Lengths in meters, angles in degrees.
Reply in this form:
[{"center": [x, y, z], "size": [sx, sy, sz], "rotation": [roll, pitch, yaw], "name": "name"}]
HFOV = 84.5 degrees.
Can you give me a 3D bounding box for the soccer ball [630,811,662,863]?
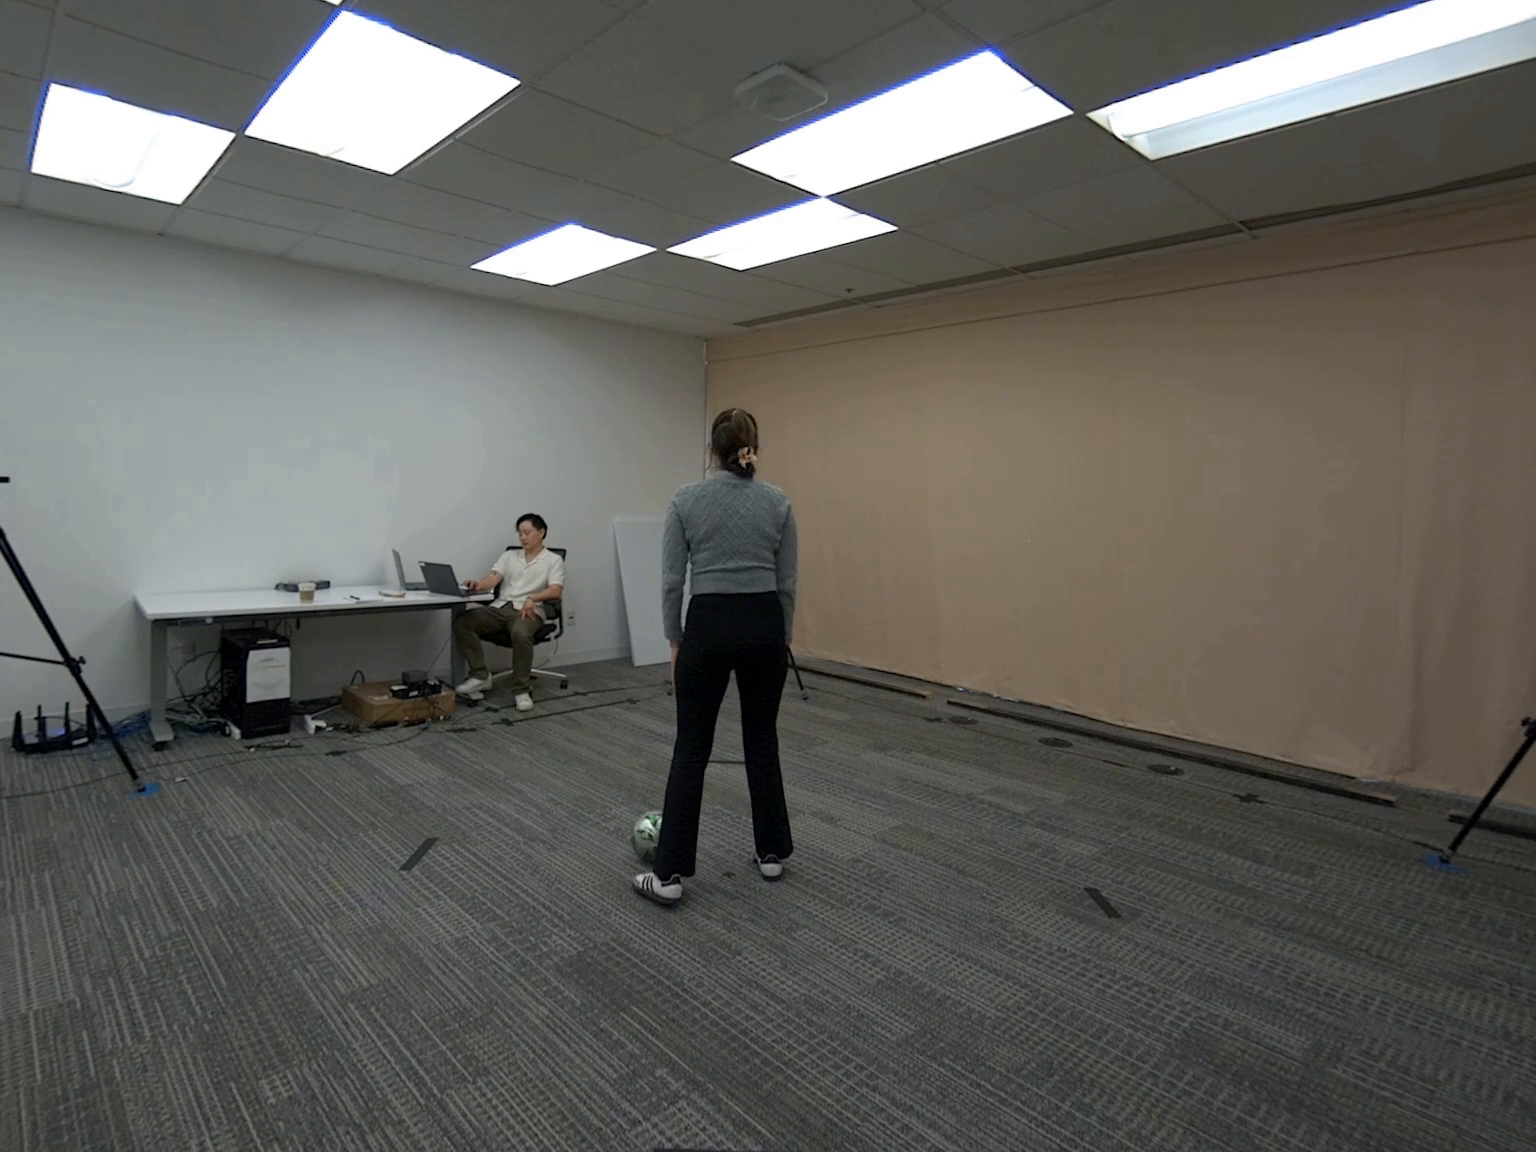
[{"center": [-0.435, 0.987, 3.216], "size": [0.187, 0.187, 0.188], "rotation": [1, 4, -1], "name": "soccer ball"}]
